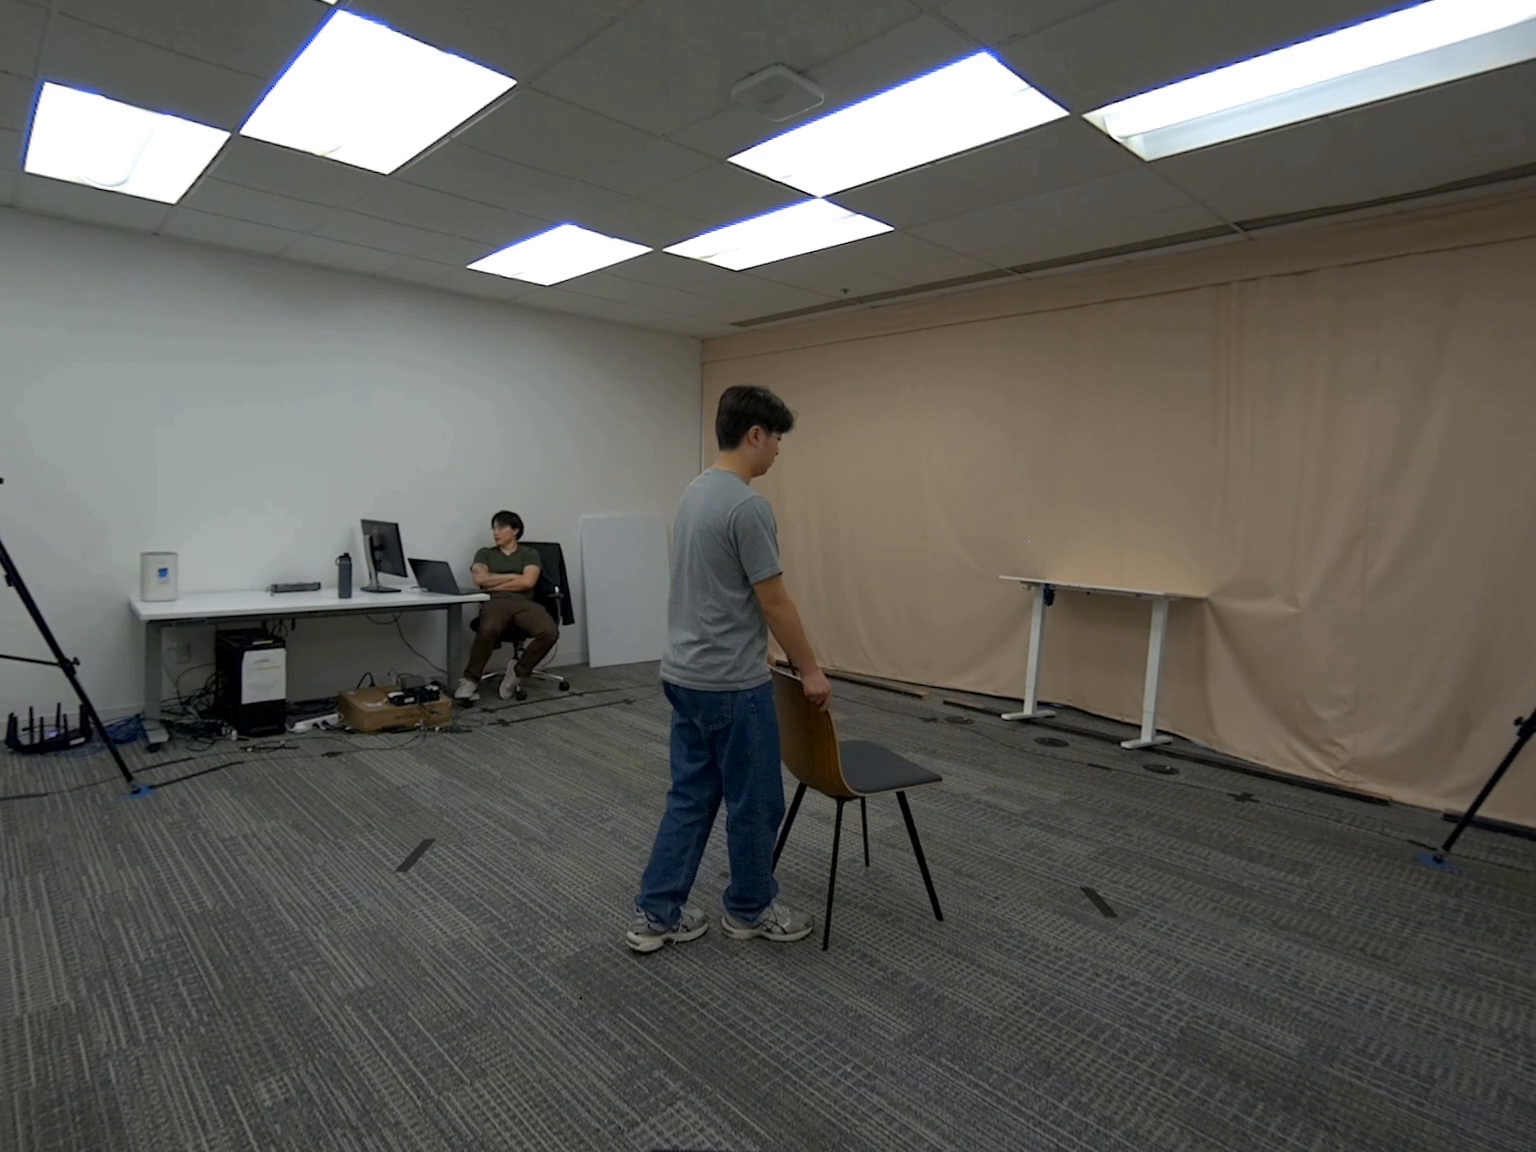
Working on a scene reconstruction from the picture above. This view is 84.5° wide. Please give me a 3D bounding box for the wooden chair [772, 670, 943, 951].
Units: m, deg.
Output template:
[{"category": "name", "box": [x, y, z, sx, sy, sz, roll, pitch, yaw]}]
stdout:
[{"category": "wooden chair", "box": [0.275, 0.703, 2.856, 0.515, 0.873, 0.488, -7, 7, -24]}]
